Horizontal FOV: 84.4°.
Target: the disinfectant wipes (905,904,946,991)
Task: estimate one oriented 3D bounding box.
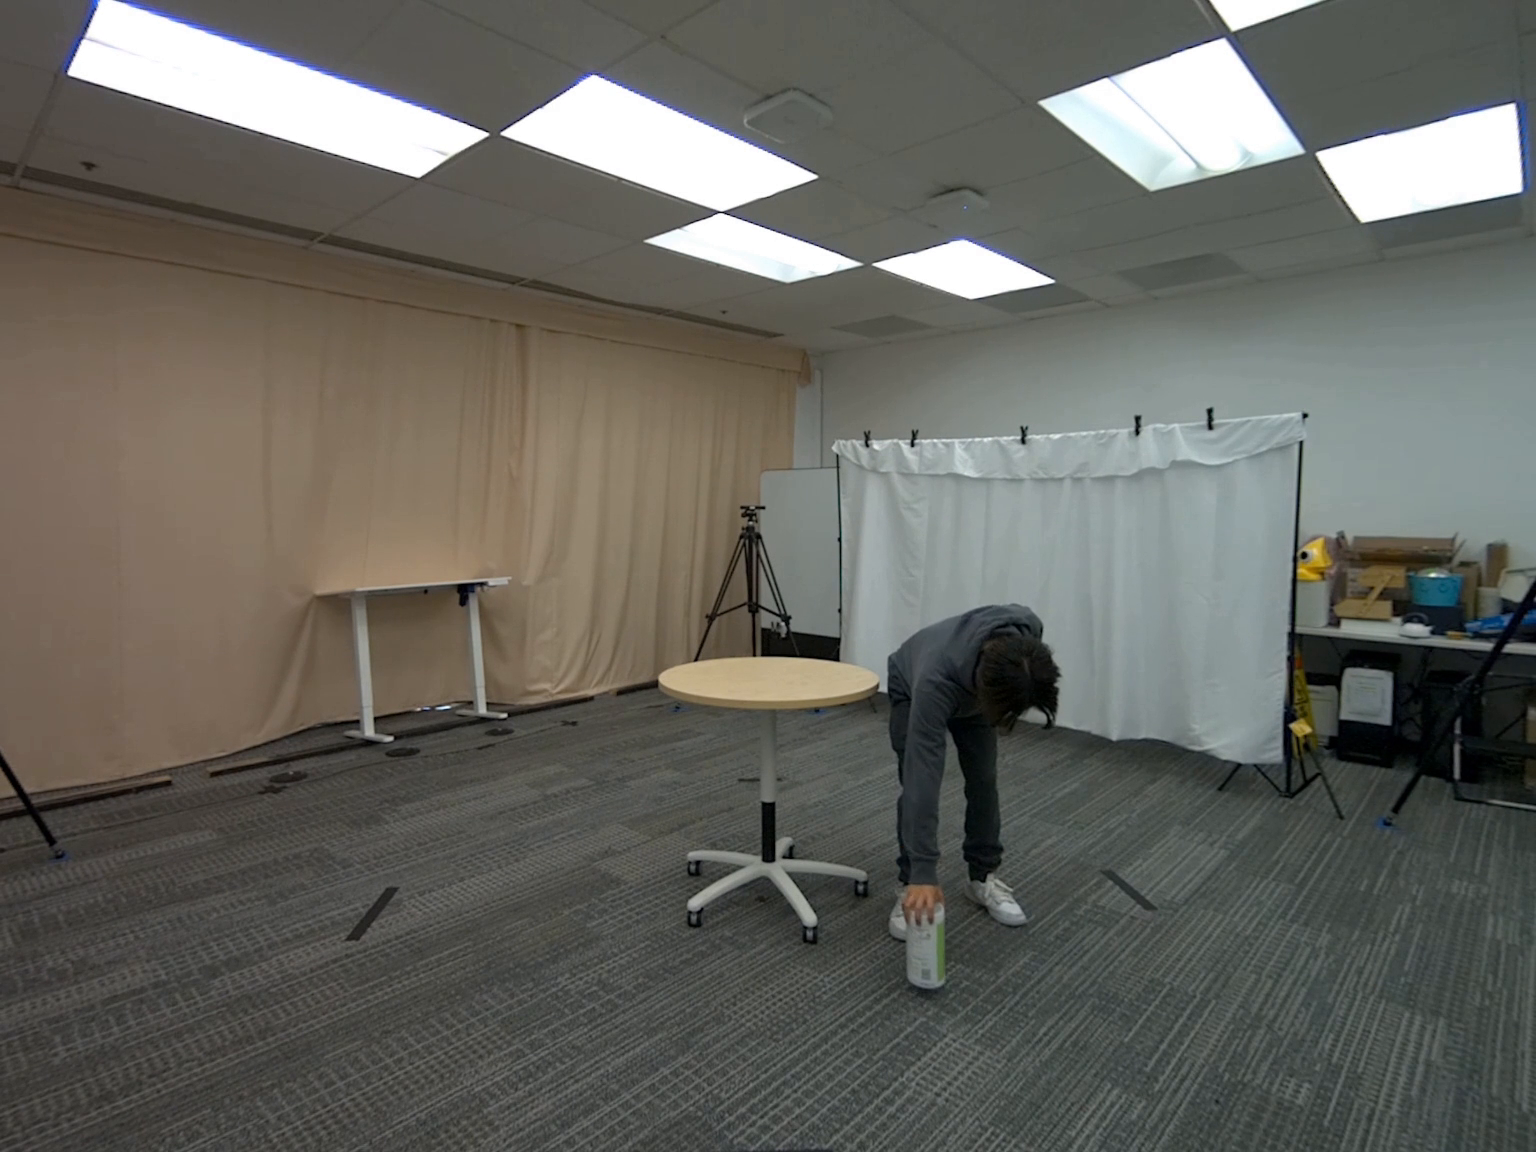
[{"bbox_3d":[0.458,1.050,2.387,0.118,0.217,0.118,-1,3,-2],"label":"disinfectant wipes"}]
